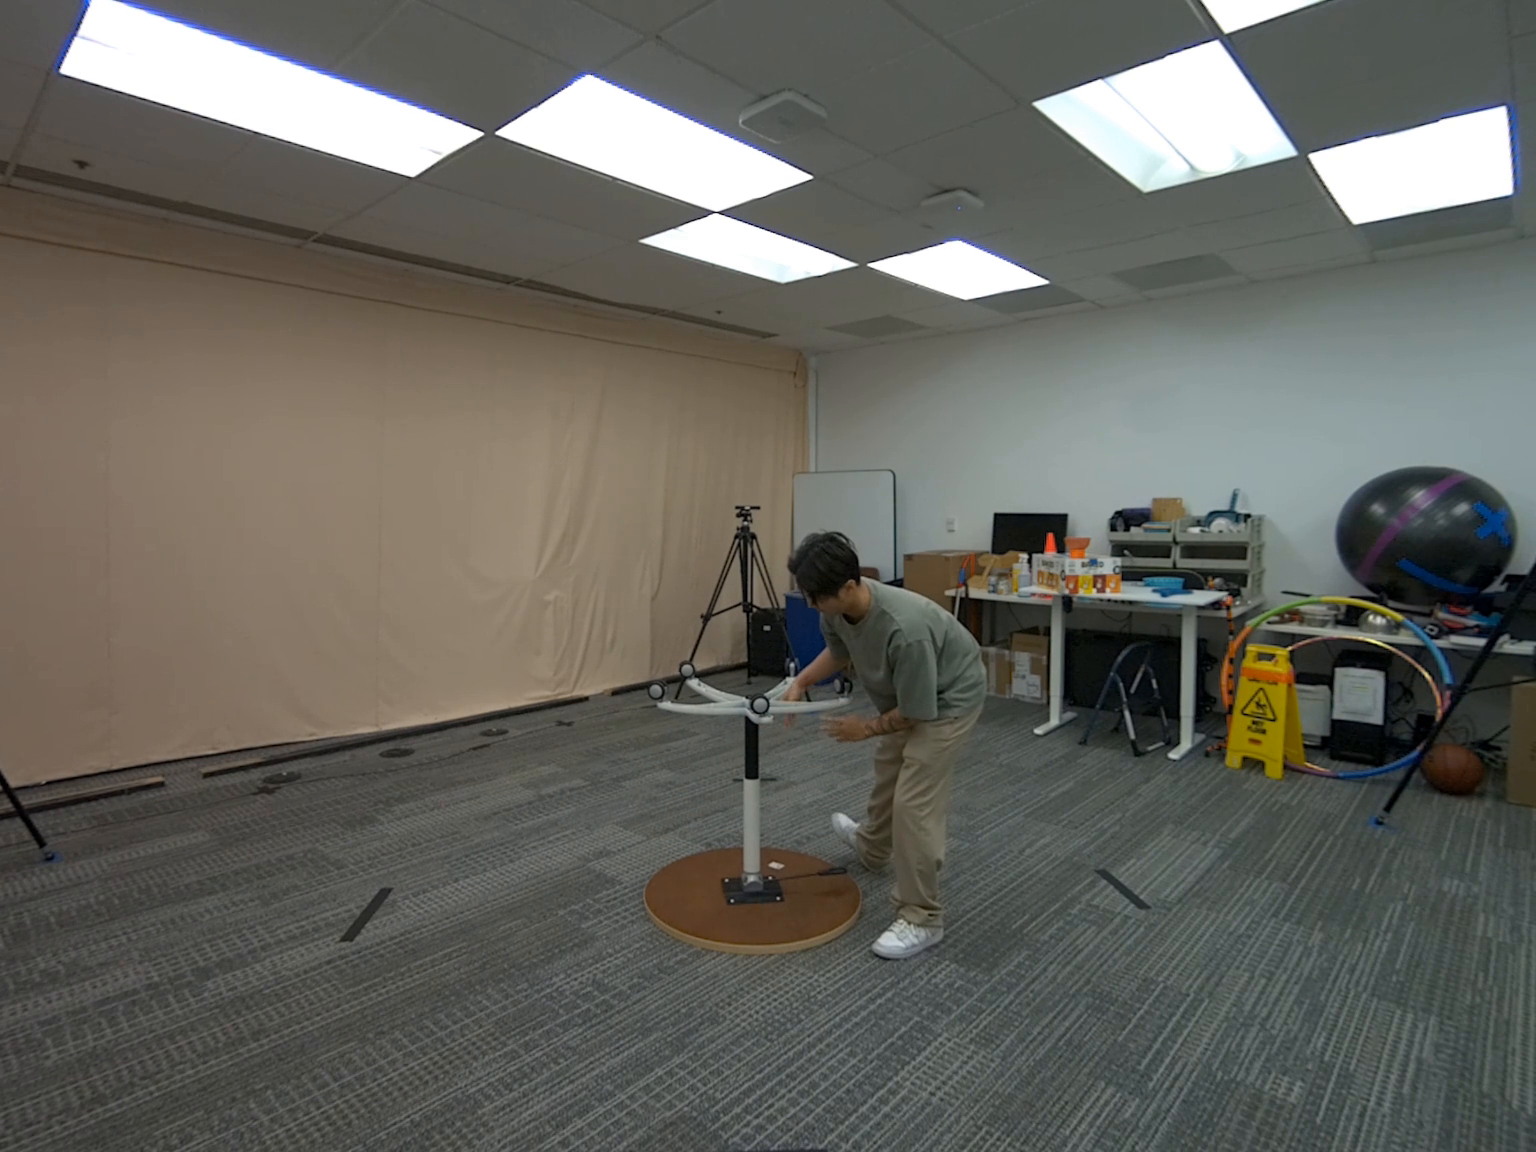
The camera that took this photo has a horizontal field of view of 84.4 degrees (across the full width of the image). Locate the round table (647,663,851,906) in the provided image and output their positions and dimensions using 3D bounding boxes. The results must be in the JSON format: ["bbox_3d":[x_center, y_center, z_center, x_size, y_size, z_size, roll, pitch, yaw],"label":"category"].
[{"bbox_3d":[-0.060,0.742,2.987,0.784,0.785,0.788,0,3,-2],"label":"round table"}]
